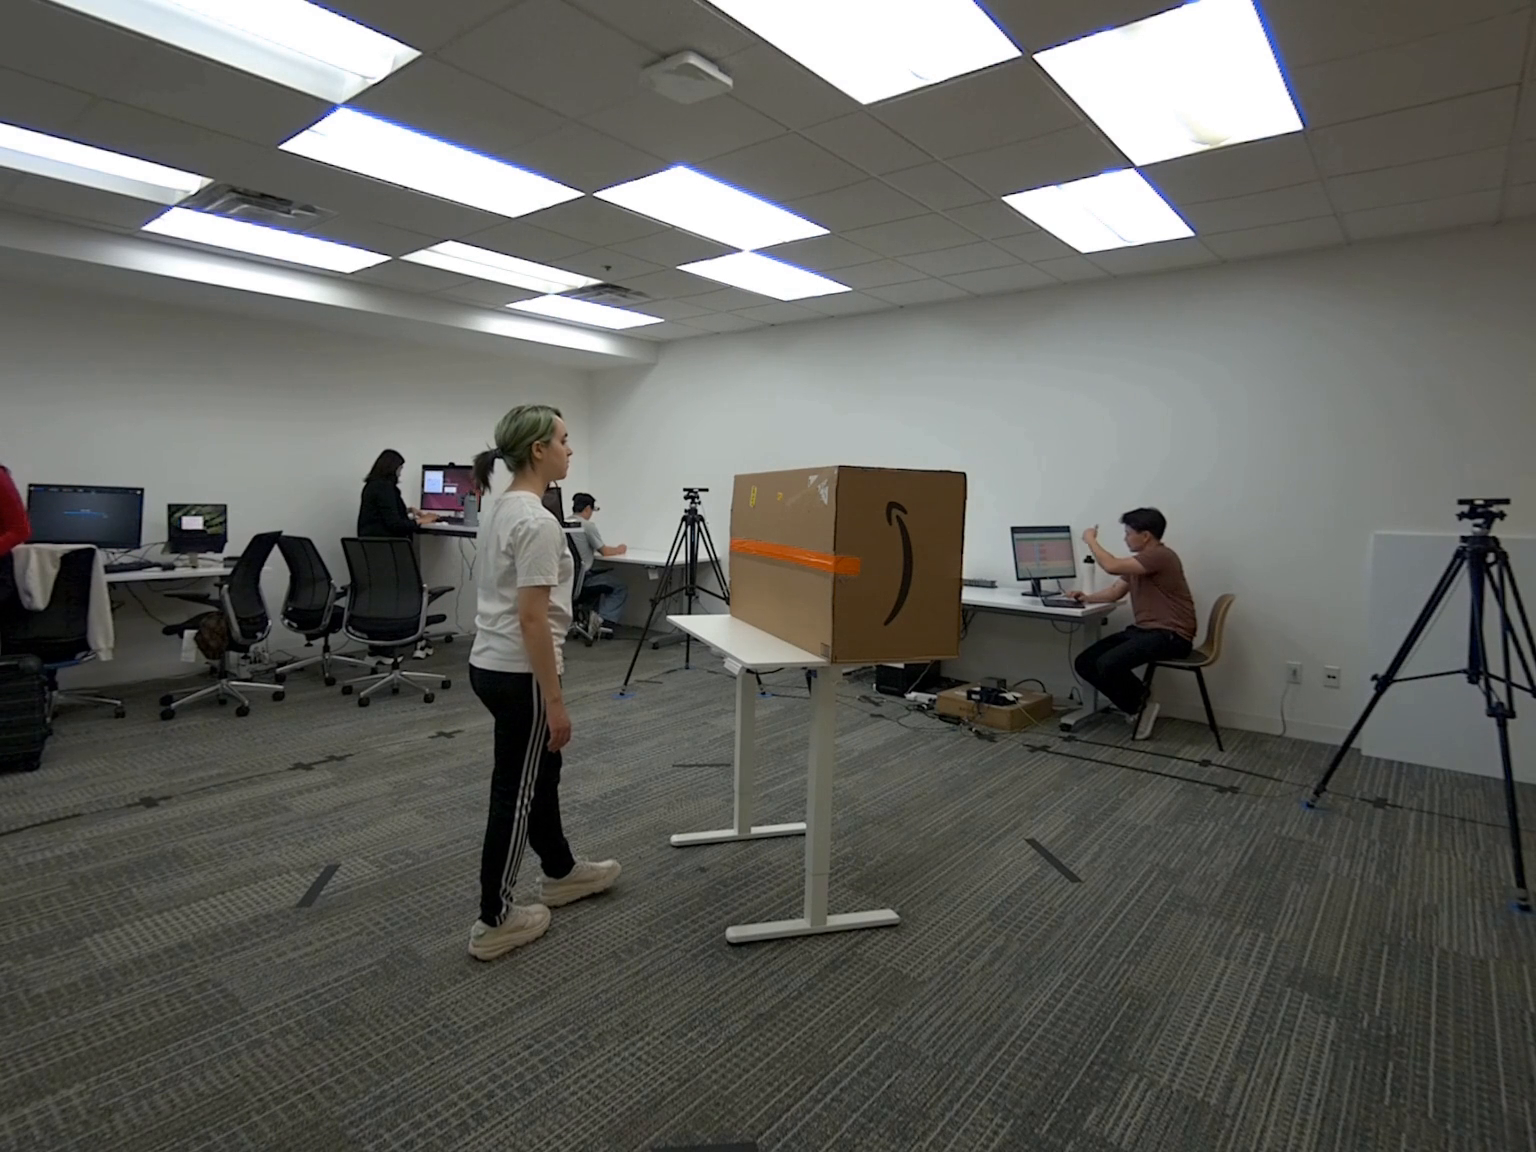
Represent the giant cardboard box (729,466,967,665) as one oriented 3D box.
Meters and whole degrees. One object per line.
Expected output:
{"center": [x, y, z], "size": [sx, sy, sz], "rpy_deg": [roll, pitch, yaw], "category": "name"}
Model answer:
{"center": [0.206, -0.080, 3.015], "size": [0.438, 0.582, 1.050], "rpy_deg": [1, 4, -20], "category": "giant cardboard box"}
